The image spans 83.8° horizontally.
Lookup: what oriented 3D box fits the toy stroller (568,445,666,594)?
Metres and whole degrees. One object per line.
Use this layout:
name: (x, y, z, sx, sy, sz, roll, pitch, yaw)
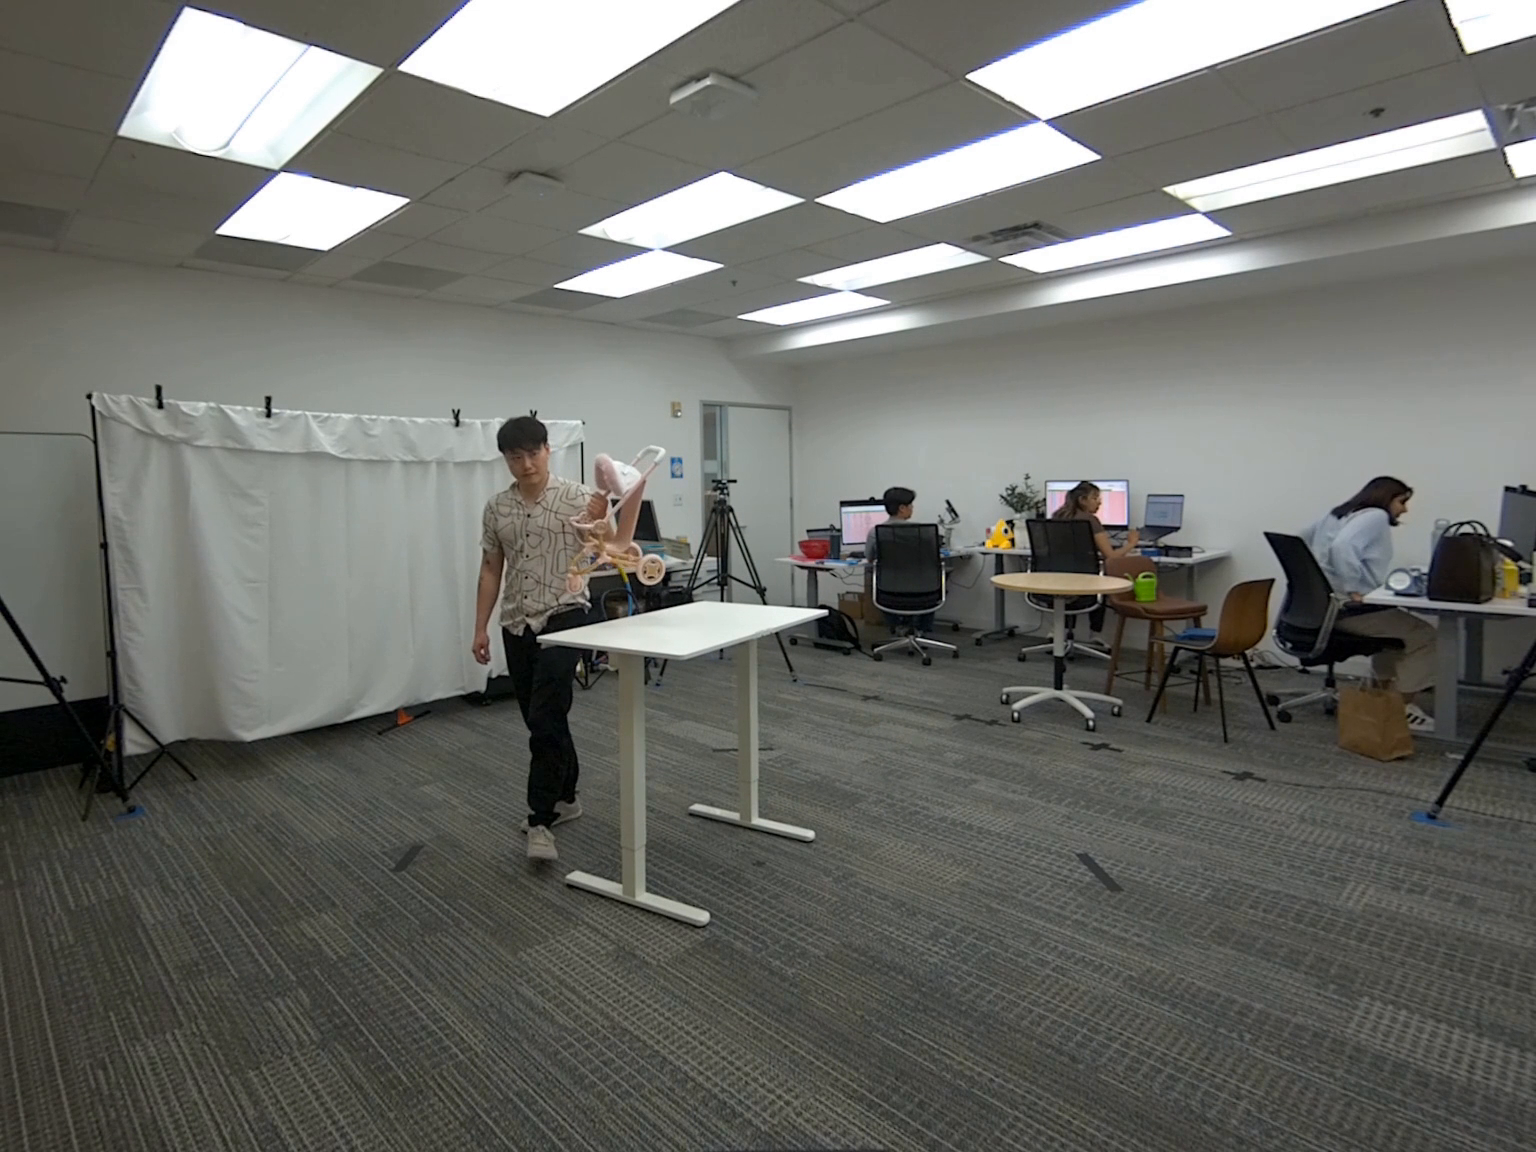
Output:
toy stroller: (-0.559, -0.197, 3.056, 0.335, 0.530, 0.289, 0, 11, -22)
